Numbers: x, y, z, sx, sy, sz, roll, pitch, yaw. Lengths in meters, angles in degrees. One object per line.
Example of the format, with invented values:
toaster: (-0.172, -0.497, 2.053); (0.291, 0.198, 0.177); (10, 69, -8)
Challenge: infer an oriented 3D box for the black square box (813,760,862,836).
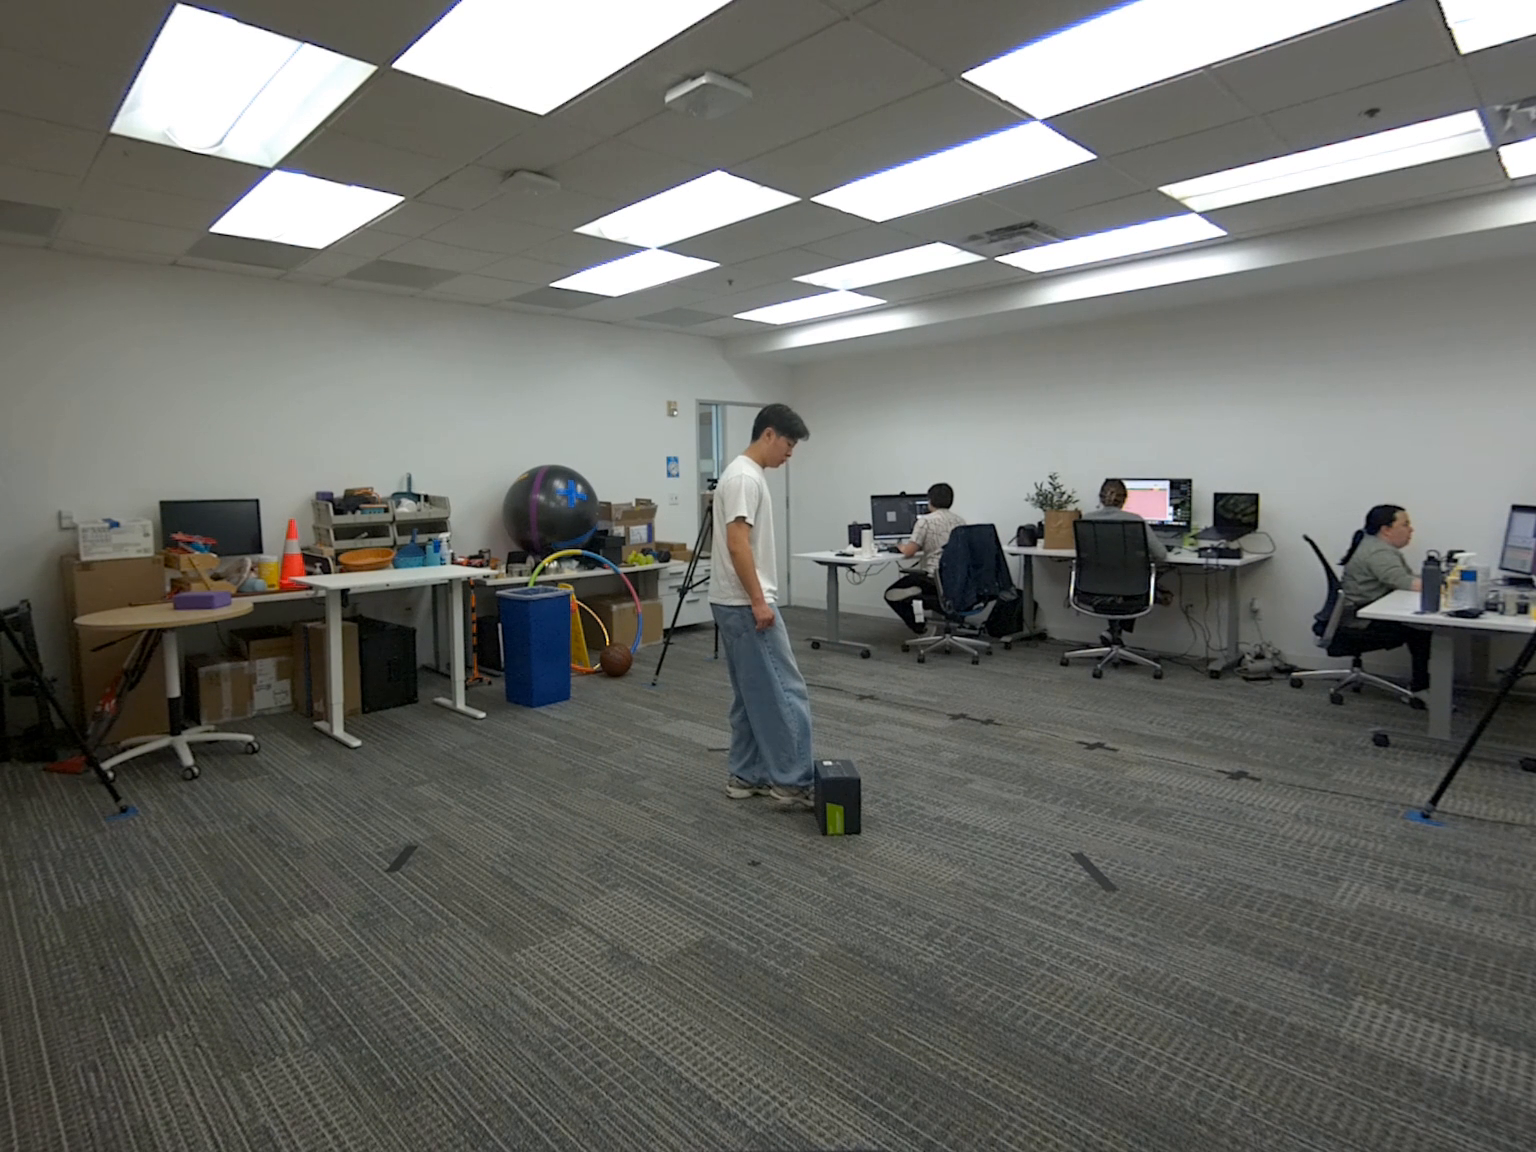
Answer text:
black square box: (0.282, 0.883, 3.429); (0.155, 0.227, 0.218); (-1, 5, -4)
